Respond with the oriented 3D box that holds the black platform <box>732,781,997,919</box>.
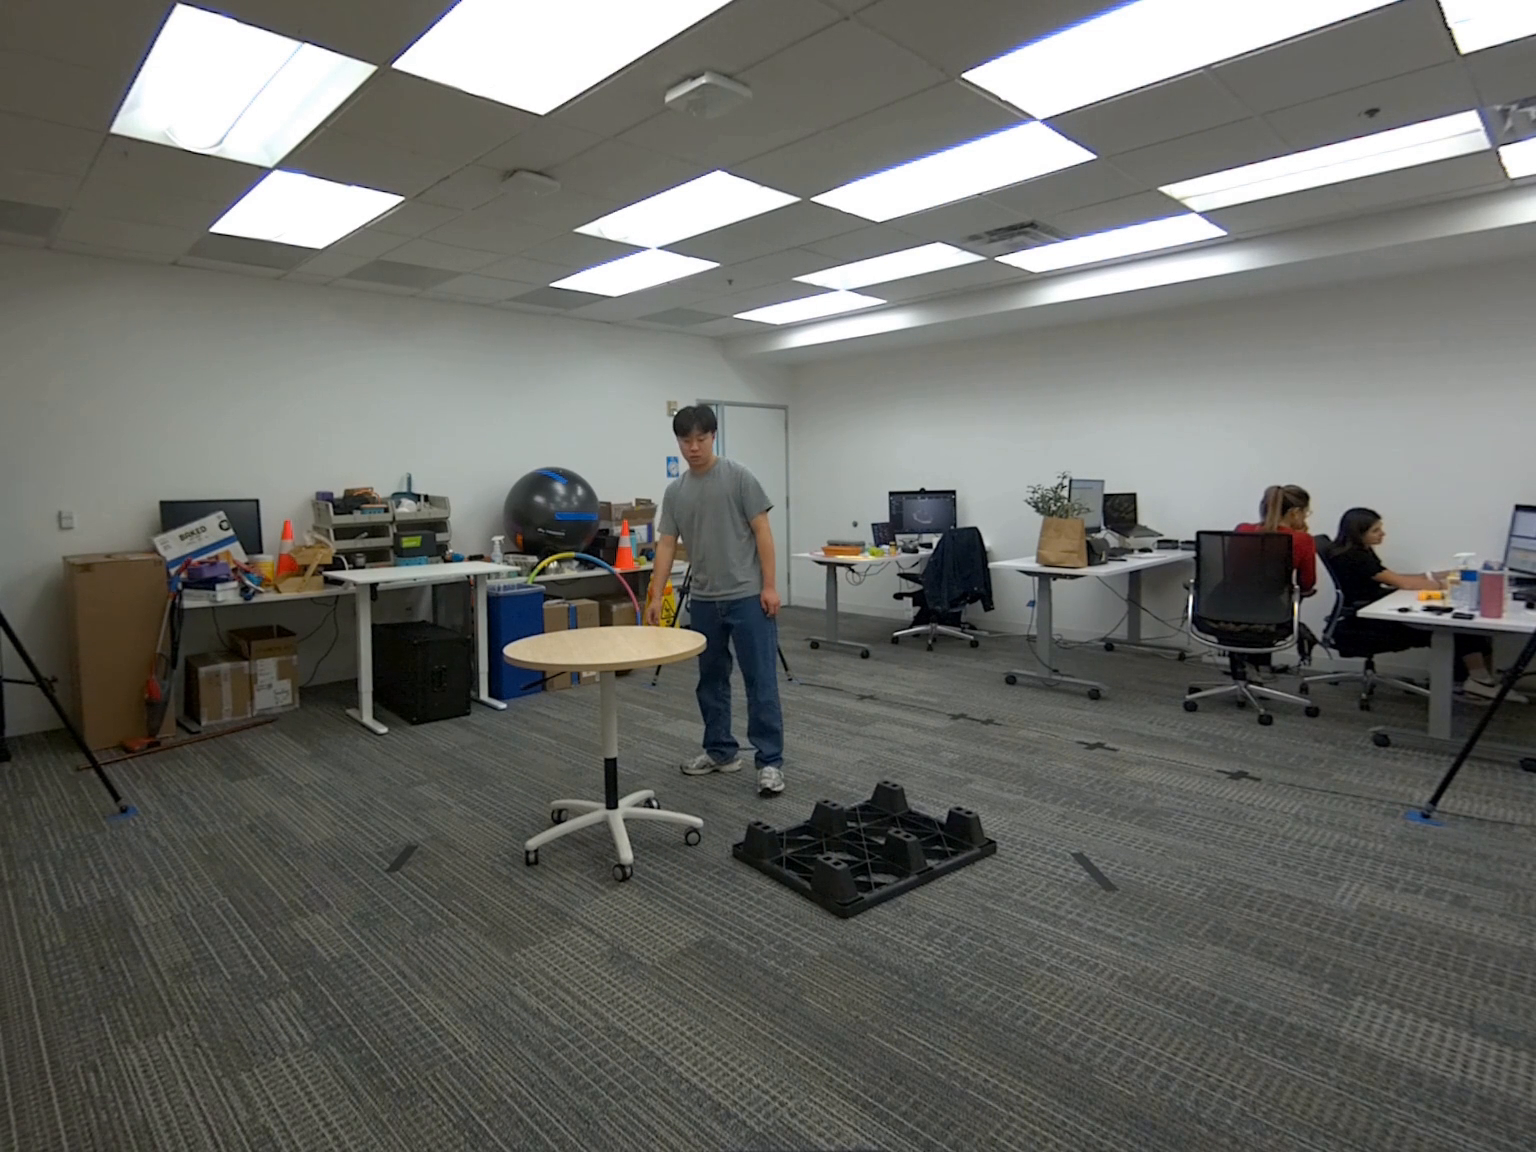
[{"bbox_3d":[0.360,0.966,3.170,0.785,0.142,0.624,-6,8,-38],"label":"black platform"}]
